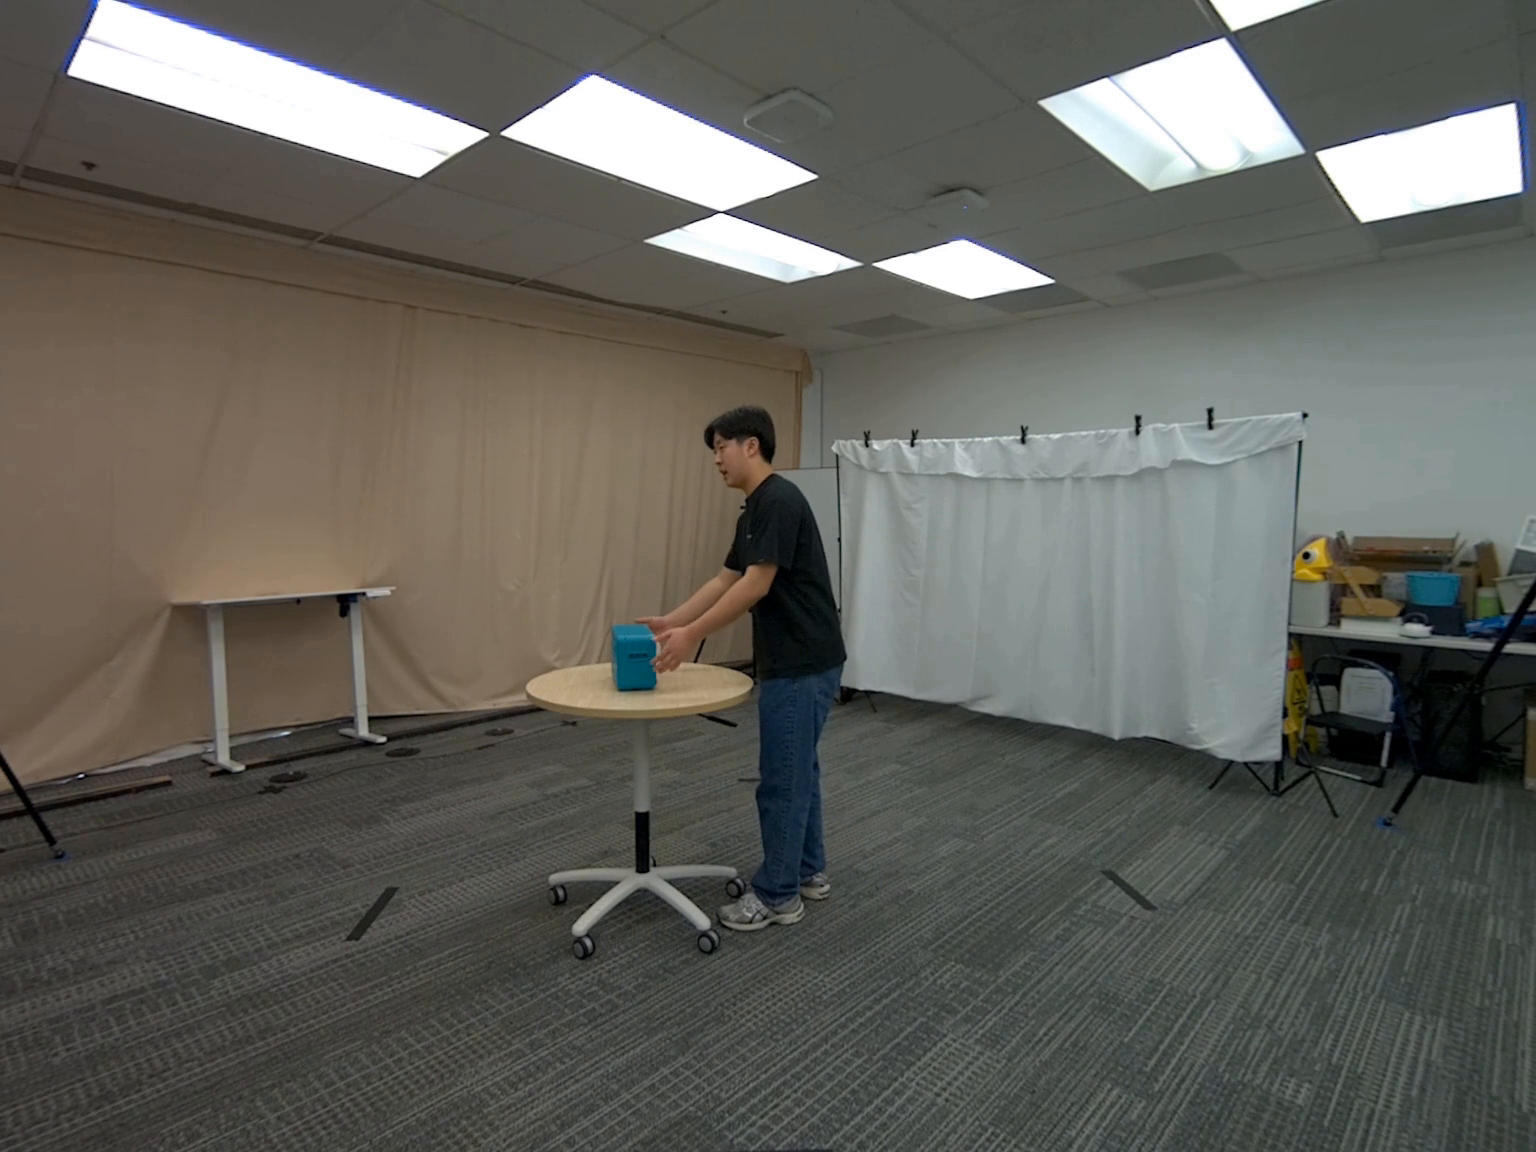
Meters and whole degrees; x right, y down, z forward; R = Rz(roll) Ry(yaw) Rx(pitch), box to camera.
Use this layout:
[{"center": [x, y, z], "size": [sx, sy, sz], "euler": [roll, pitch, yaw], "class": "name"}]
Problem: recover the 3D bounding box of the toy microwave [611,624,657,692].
[{"center": [-0.448, 0.275, 2.847], "size": [0.150, 0.184, 0.290], "euler": [0, 4, -12], "class": "toy microwave"}]
